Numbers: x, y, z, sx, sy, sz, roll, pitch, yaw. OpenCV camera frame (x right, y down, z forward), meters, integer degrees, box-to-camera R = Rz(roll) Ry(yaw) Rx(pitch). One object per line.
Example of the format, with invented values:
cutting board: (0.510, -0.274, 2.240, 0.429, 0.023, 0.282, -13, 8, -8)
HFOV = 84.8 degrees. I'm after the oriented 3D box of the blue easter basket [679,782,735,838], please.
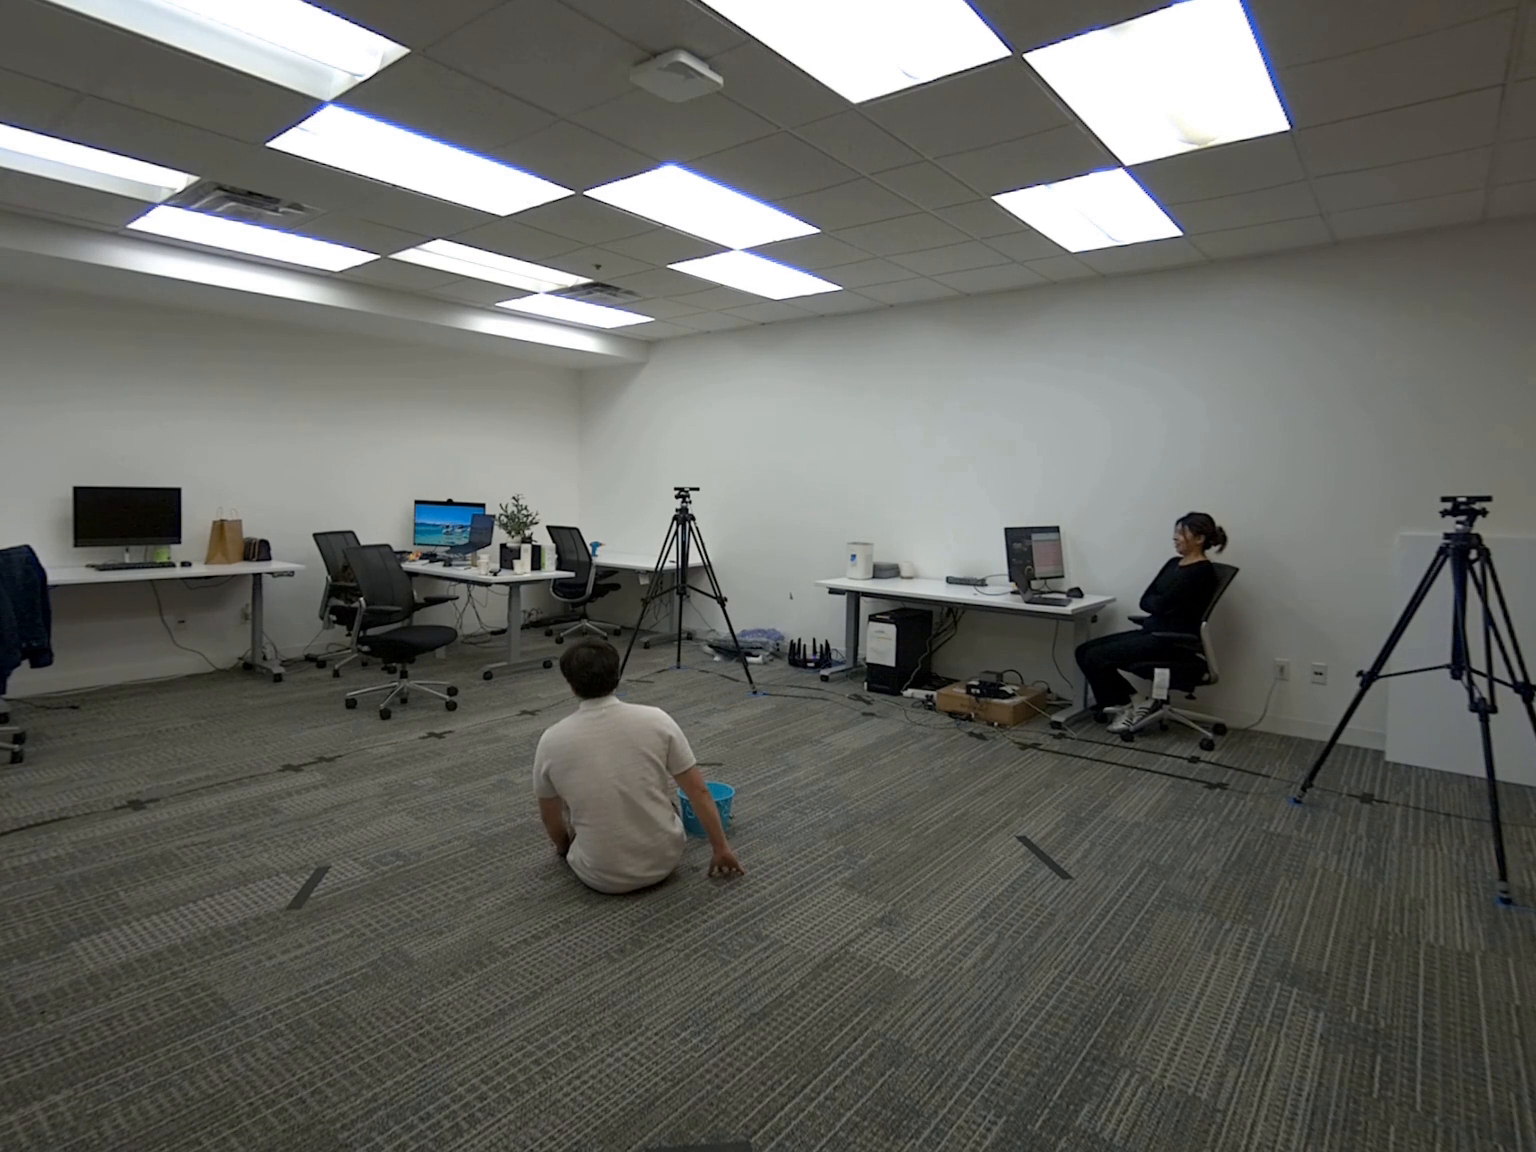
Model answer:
blue easter basket: (-0.258, 0.956, 3.492, 0.243, 0.155, 0.245, 1, 6, -2)
